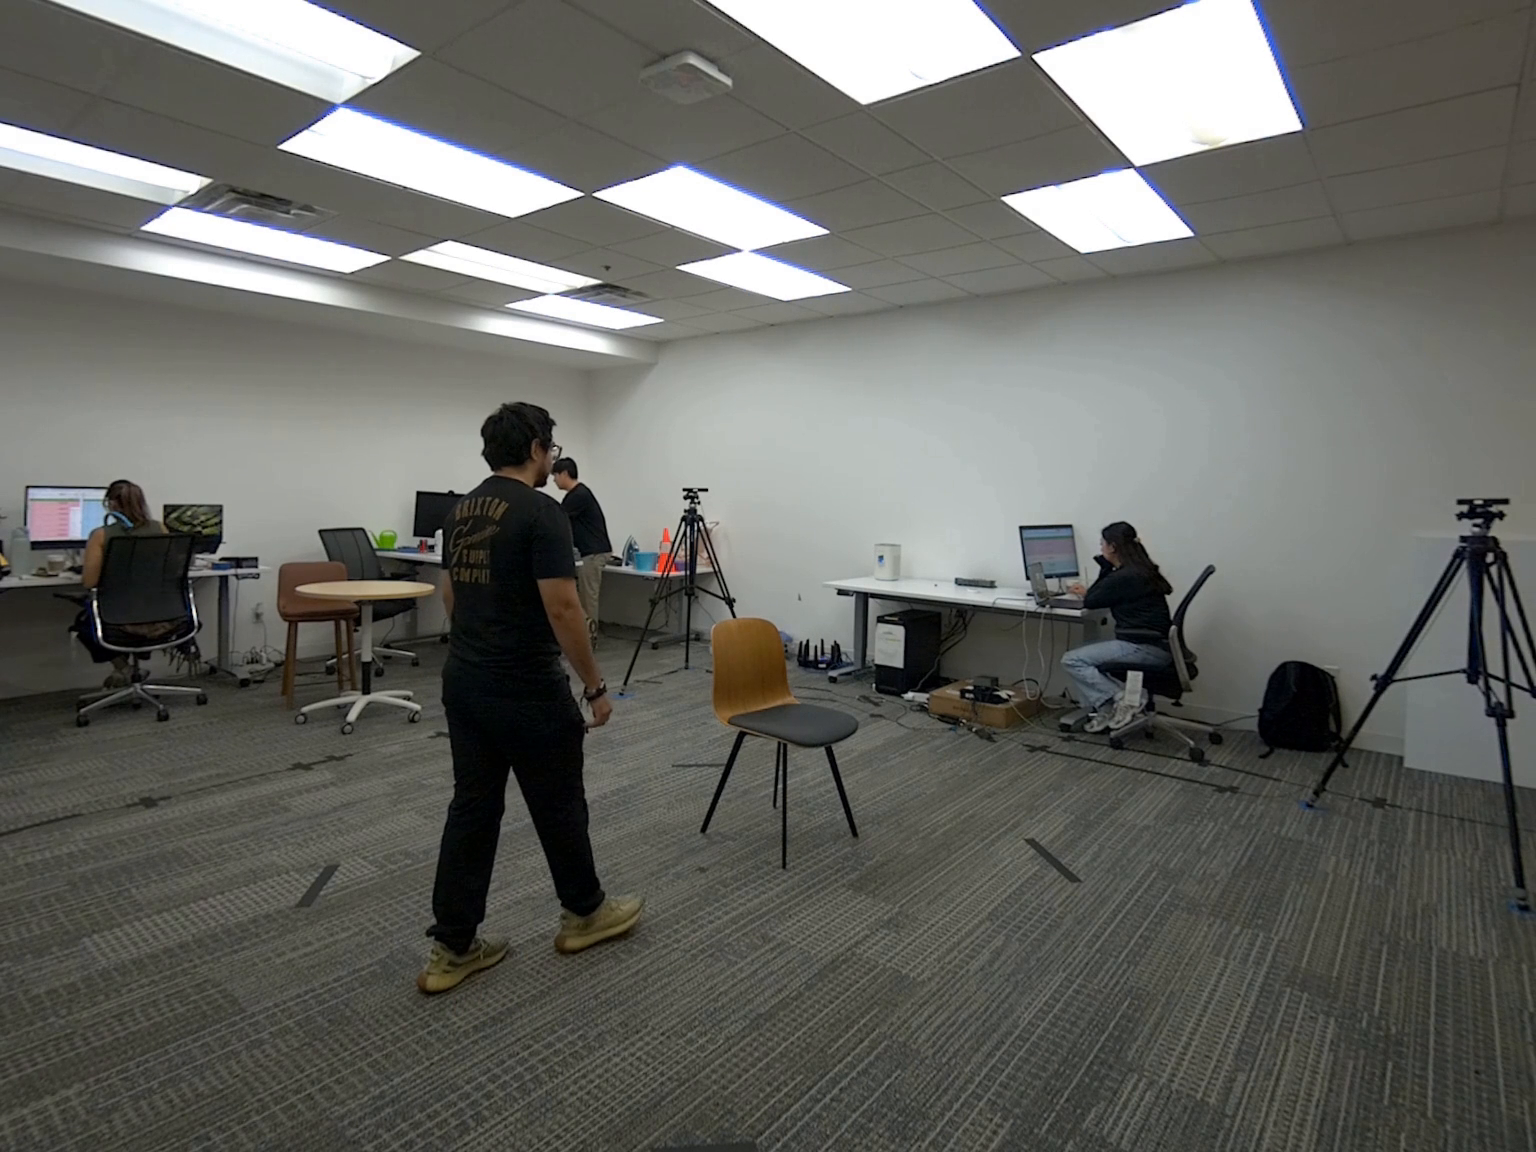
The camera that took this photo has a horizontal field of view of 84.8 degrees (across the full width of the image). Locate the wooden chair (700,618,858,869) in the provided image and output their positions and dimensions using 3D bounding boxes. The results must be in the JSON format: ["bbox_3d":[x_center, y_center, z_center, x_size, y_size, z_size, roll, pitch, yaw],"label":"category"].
[{"bbox_3d":[0.052,0.617,3.401,0.539,0.878,0.463,-2,0,44],"label":"wooden chair"}]
